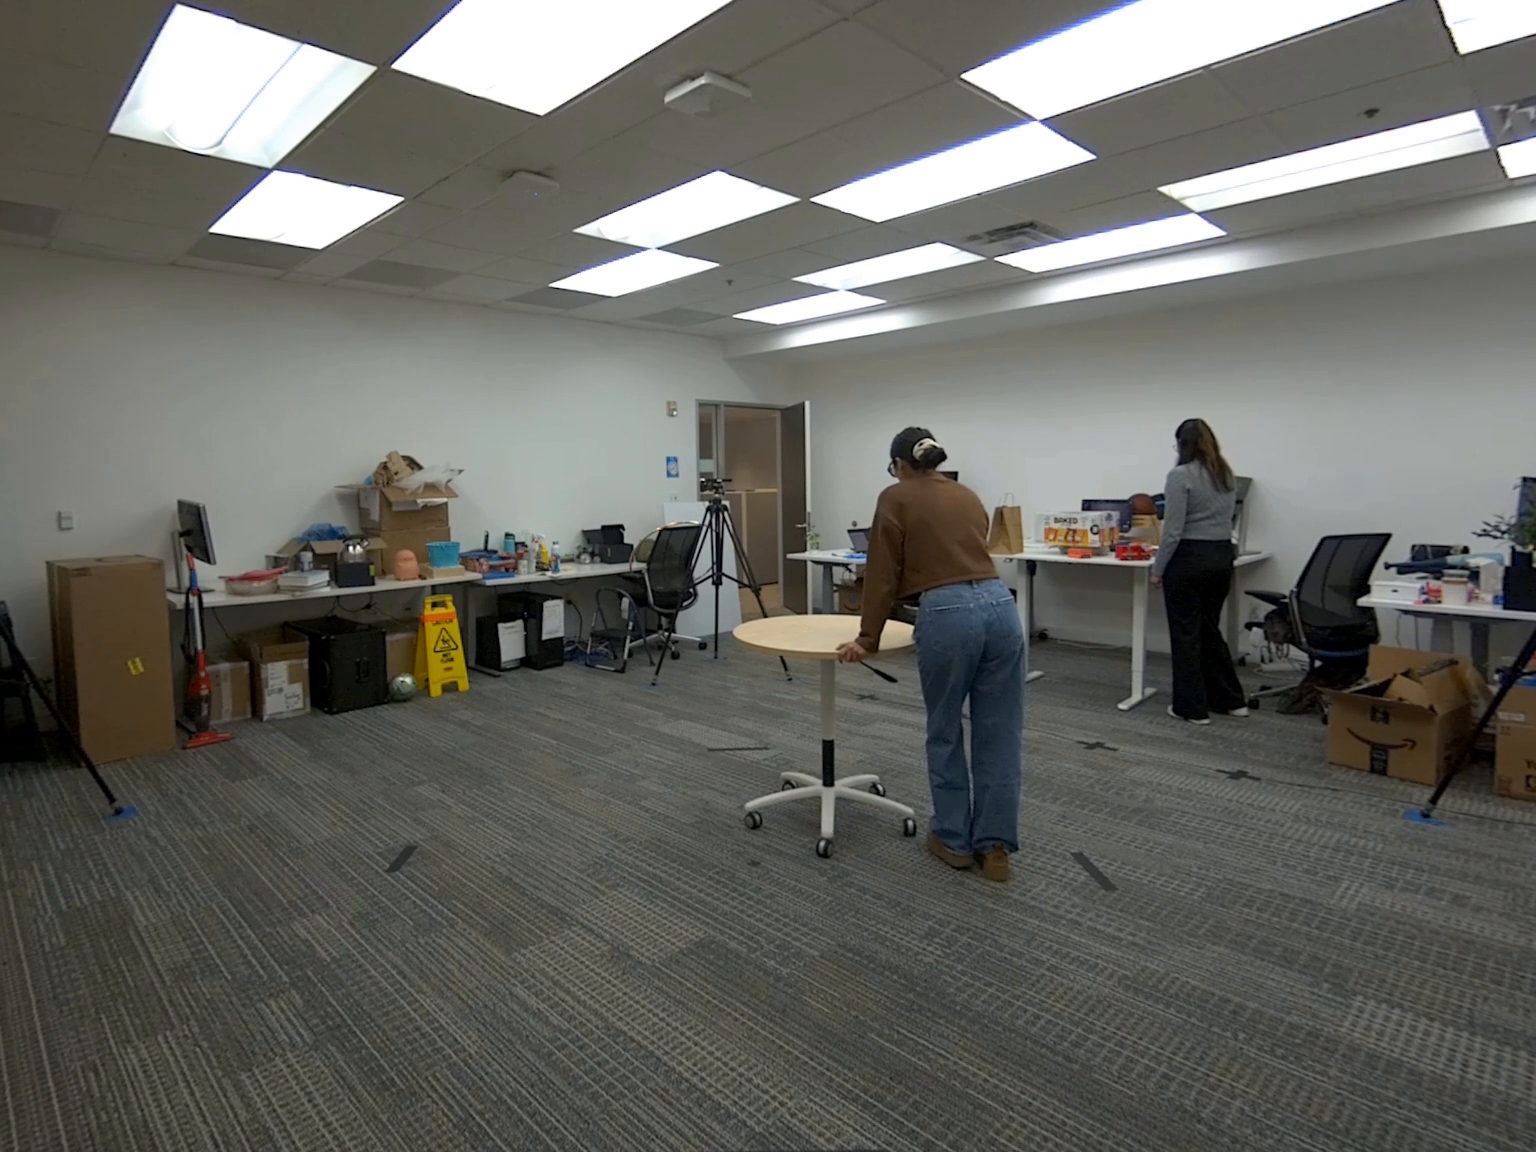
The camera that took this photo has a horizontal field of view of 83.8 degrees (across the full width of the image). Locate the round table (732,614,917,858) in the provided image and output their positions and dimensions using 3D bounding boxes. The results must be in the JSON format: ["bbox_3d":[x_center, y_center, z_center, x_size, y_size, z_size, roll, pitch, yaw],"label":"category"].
[{"bbox_3d":[0.251,0.613,3.477,0.763,0.791,0.768,-1,5,-2],"label":"round table"}]
